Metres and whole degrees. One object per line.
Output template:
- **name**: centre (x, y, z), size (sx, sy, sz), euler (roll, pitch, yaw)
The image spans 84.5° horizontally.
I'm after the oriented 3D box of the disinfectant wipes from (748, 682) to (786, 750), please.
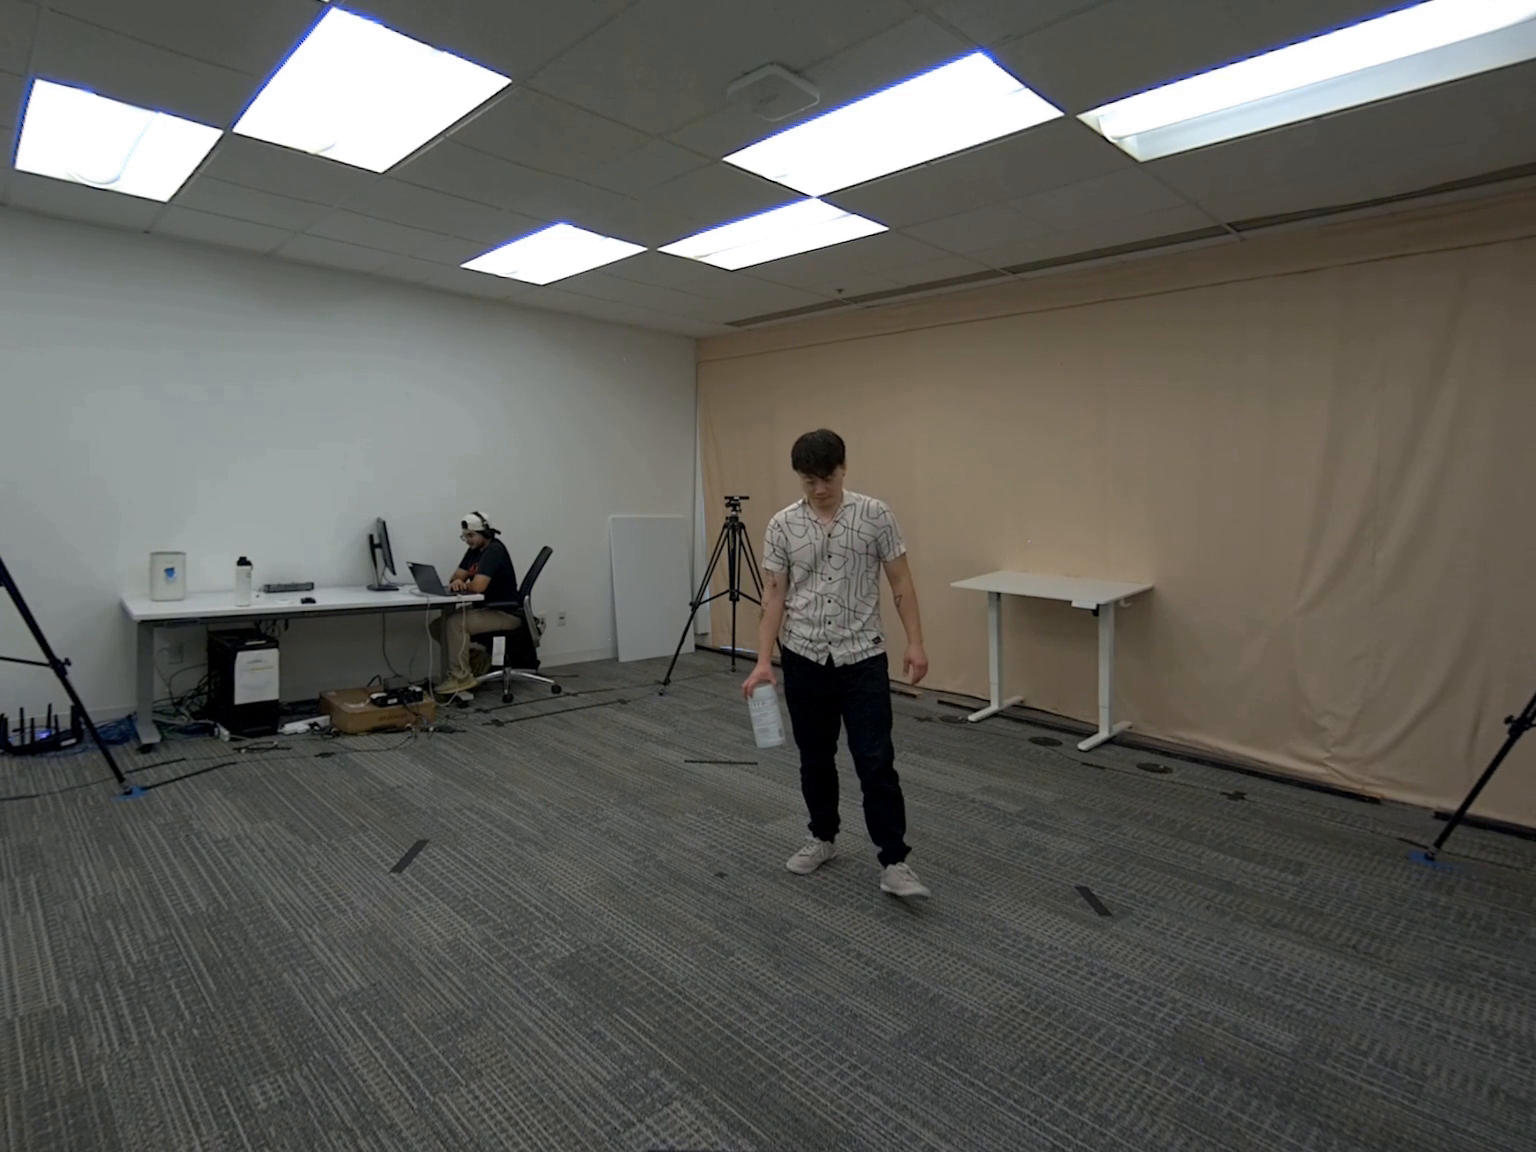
- **disinfectant wipes**: centre (-0.015, 0.500, 3.048), size (0.118, 0.218, 0.118), euler (-11, -1, -1)
